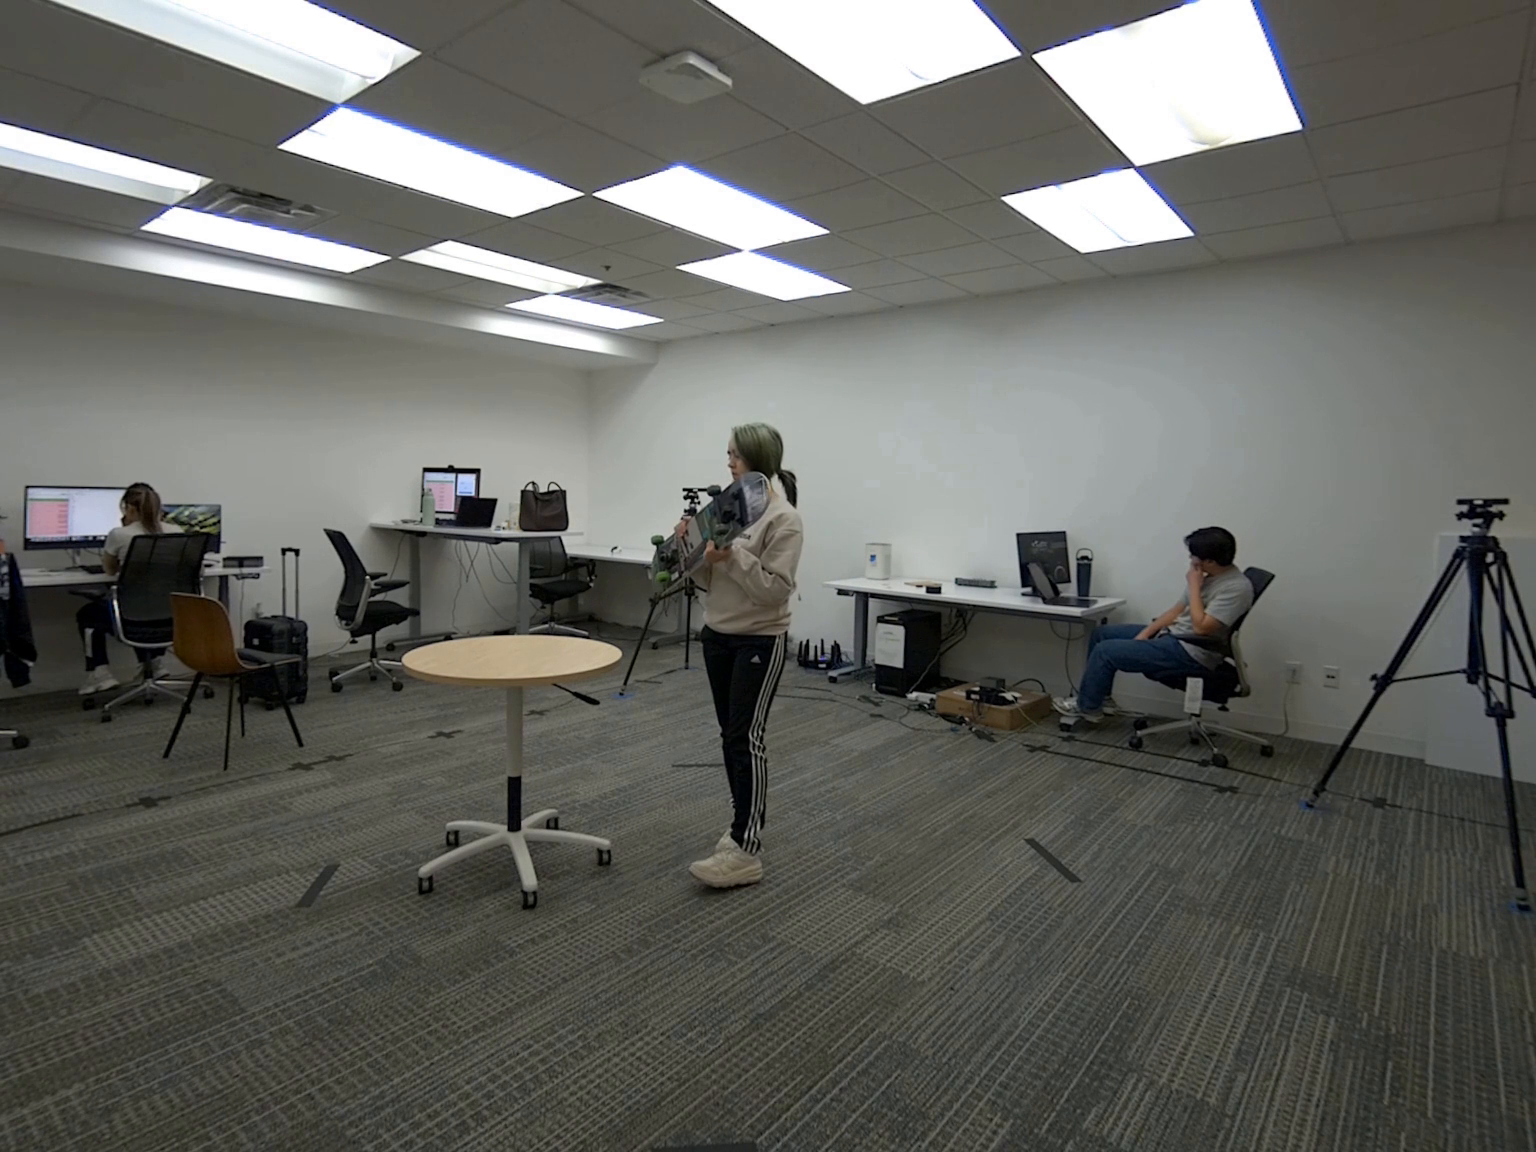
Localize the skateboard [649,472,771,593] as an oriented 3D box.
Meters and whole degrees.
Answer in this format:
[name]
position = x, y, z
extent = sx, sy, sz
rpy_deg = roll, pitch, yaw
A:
[skateboard]
position = -0.272, -0.146, 3.068
extent = 0.107, 0.198, 0.791
rpy_deg = 10, -30, -34
